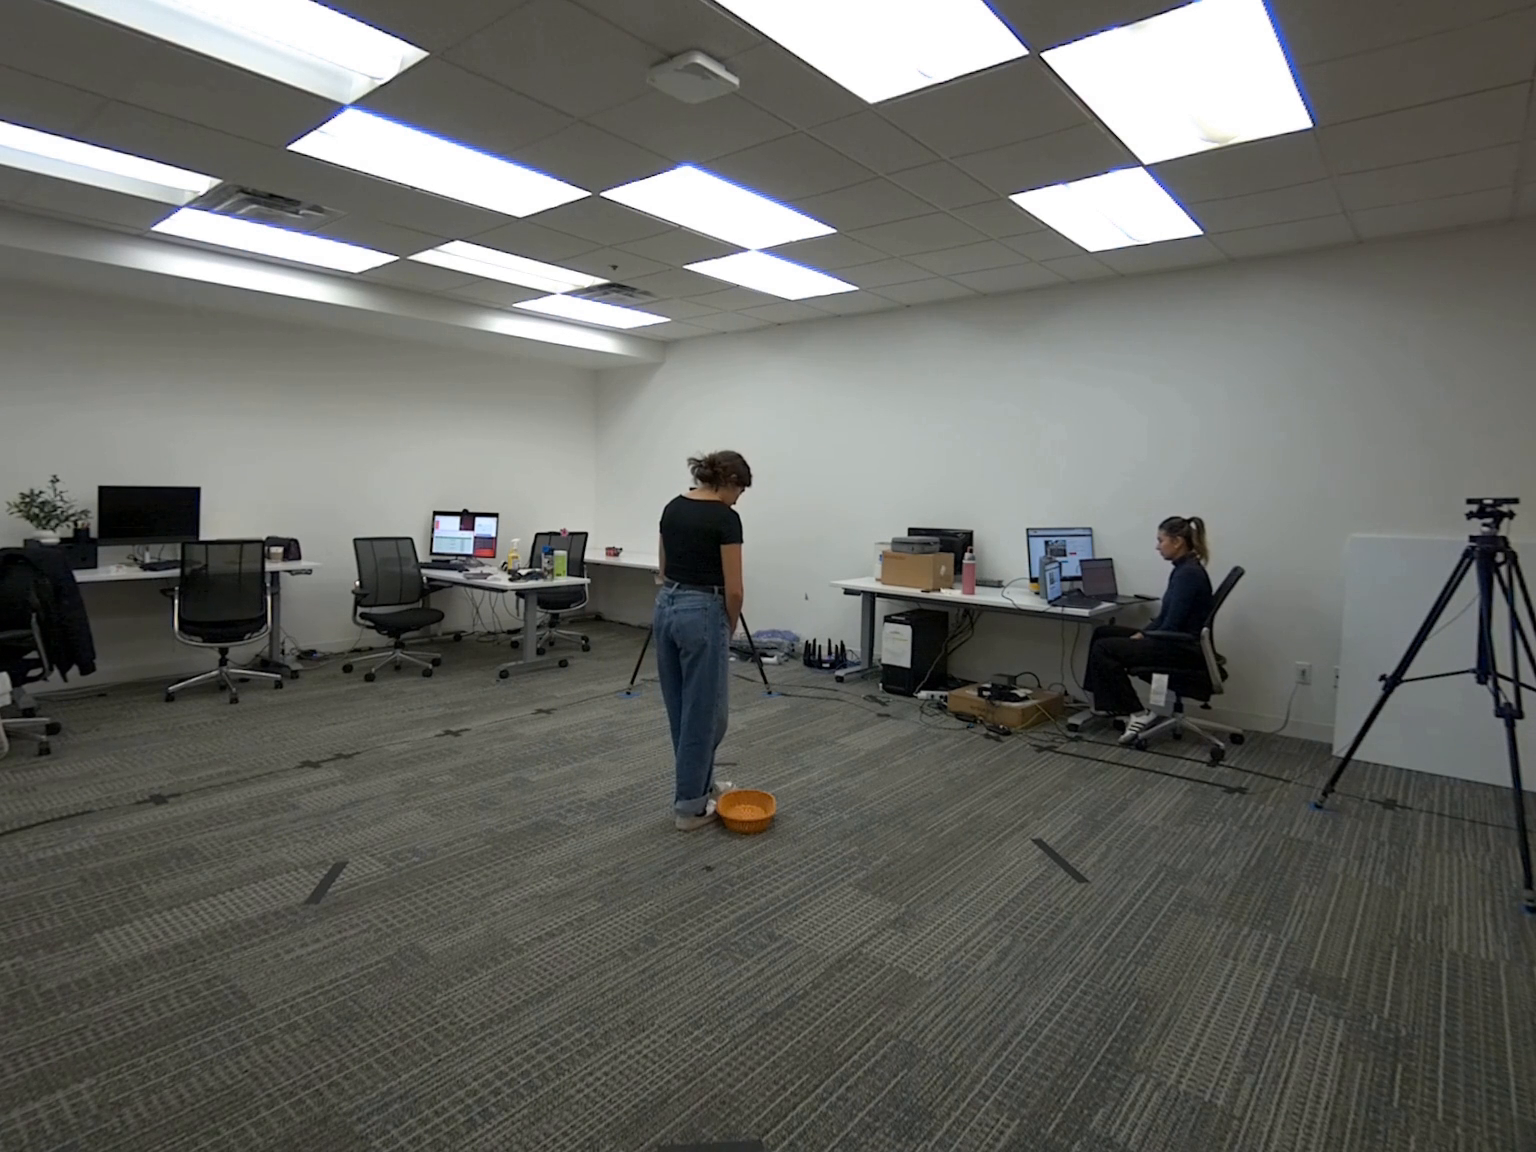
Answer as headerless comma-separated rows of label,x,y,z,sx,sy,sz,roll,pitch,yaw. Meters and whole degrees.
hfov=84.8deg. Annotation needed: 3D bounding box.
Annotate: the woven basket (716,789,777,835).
woven basket,-0.103,0.987,3.566,0.254,0.073,0.349,0,6,5
